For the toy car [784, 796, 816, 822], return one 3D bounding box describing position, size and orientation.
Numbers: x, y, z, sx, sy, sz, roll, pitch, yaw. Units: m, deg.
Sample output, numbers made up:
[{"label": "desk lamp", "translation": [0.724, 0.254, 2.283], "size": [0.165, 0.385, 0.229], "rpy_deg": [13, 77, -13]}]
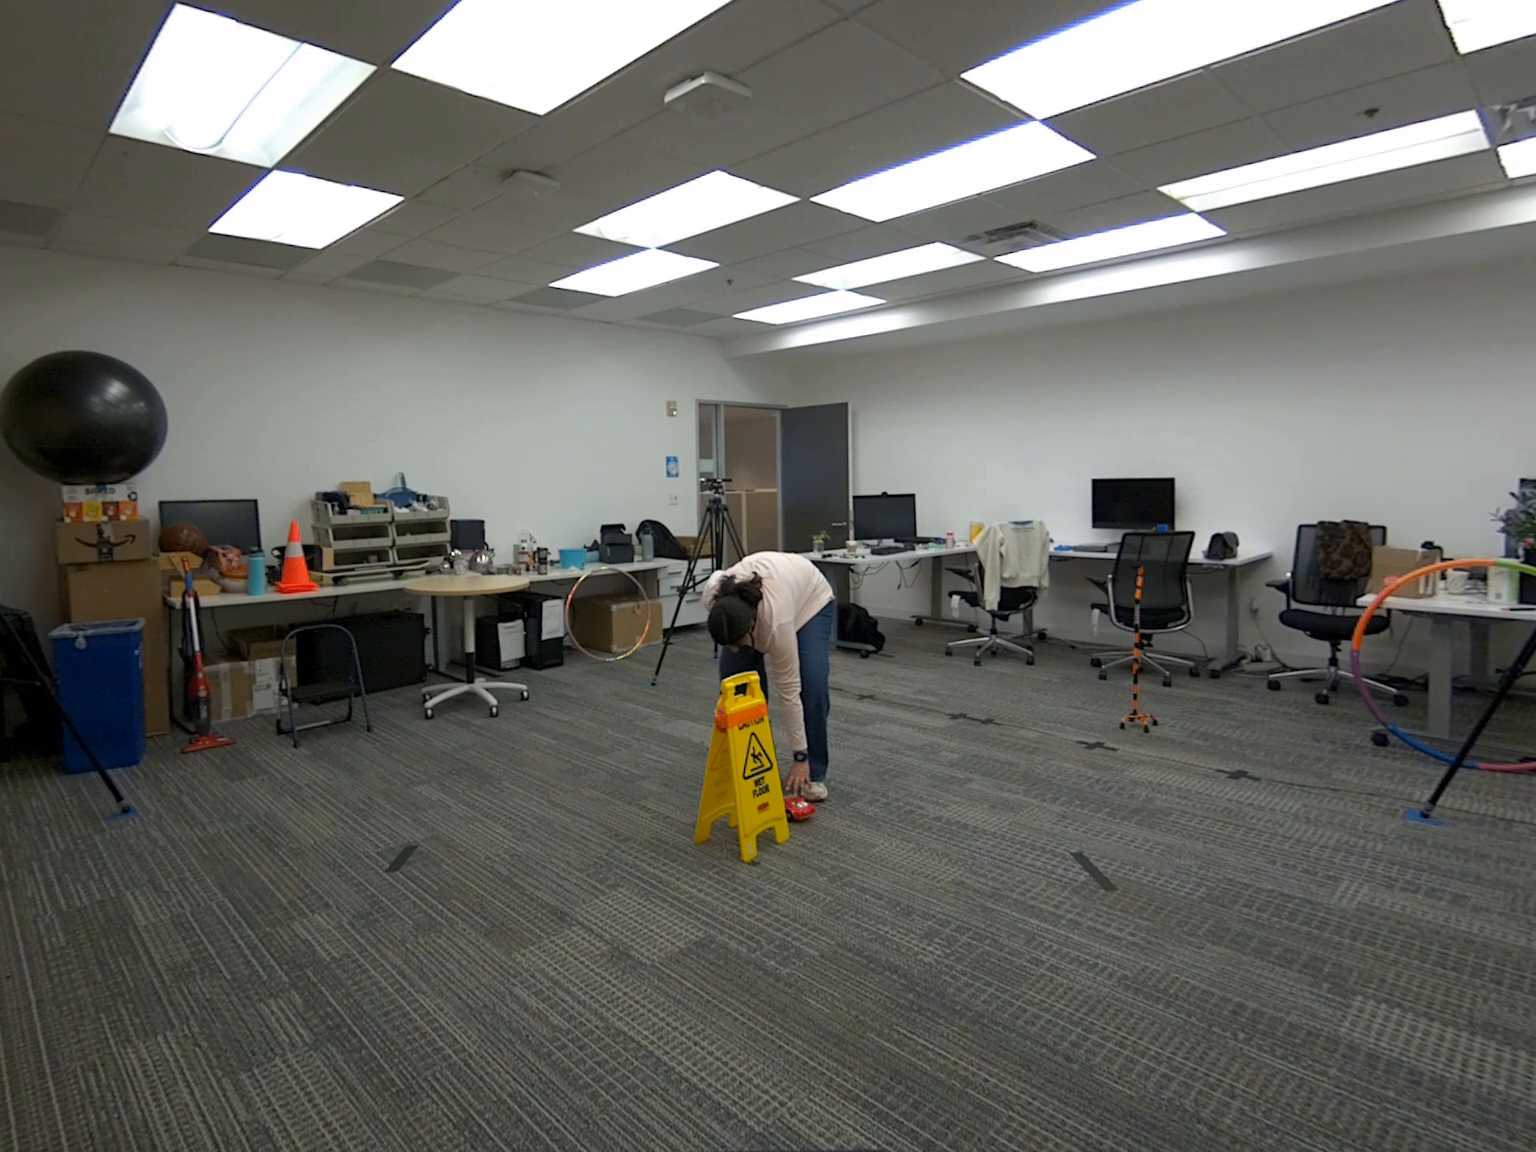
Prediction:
[{"label": "toy car", "translation": [0.083, 0.955, 3.548], "size": [0.127, 0.083, 0.260], "rpy_deg": [-2, -3, -38]}]
